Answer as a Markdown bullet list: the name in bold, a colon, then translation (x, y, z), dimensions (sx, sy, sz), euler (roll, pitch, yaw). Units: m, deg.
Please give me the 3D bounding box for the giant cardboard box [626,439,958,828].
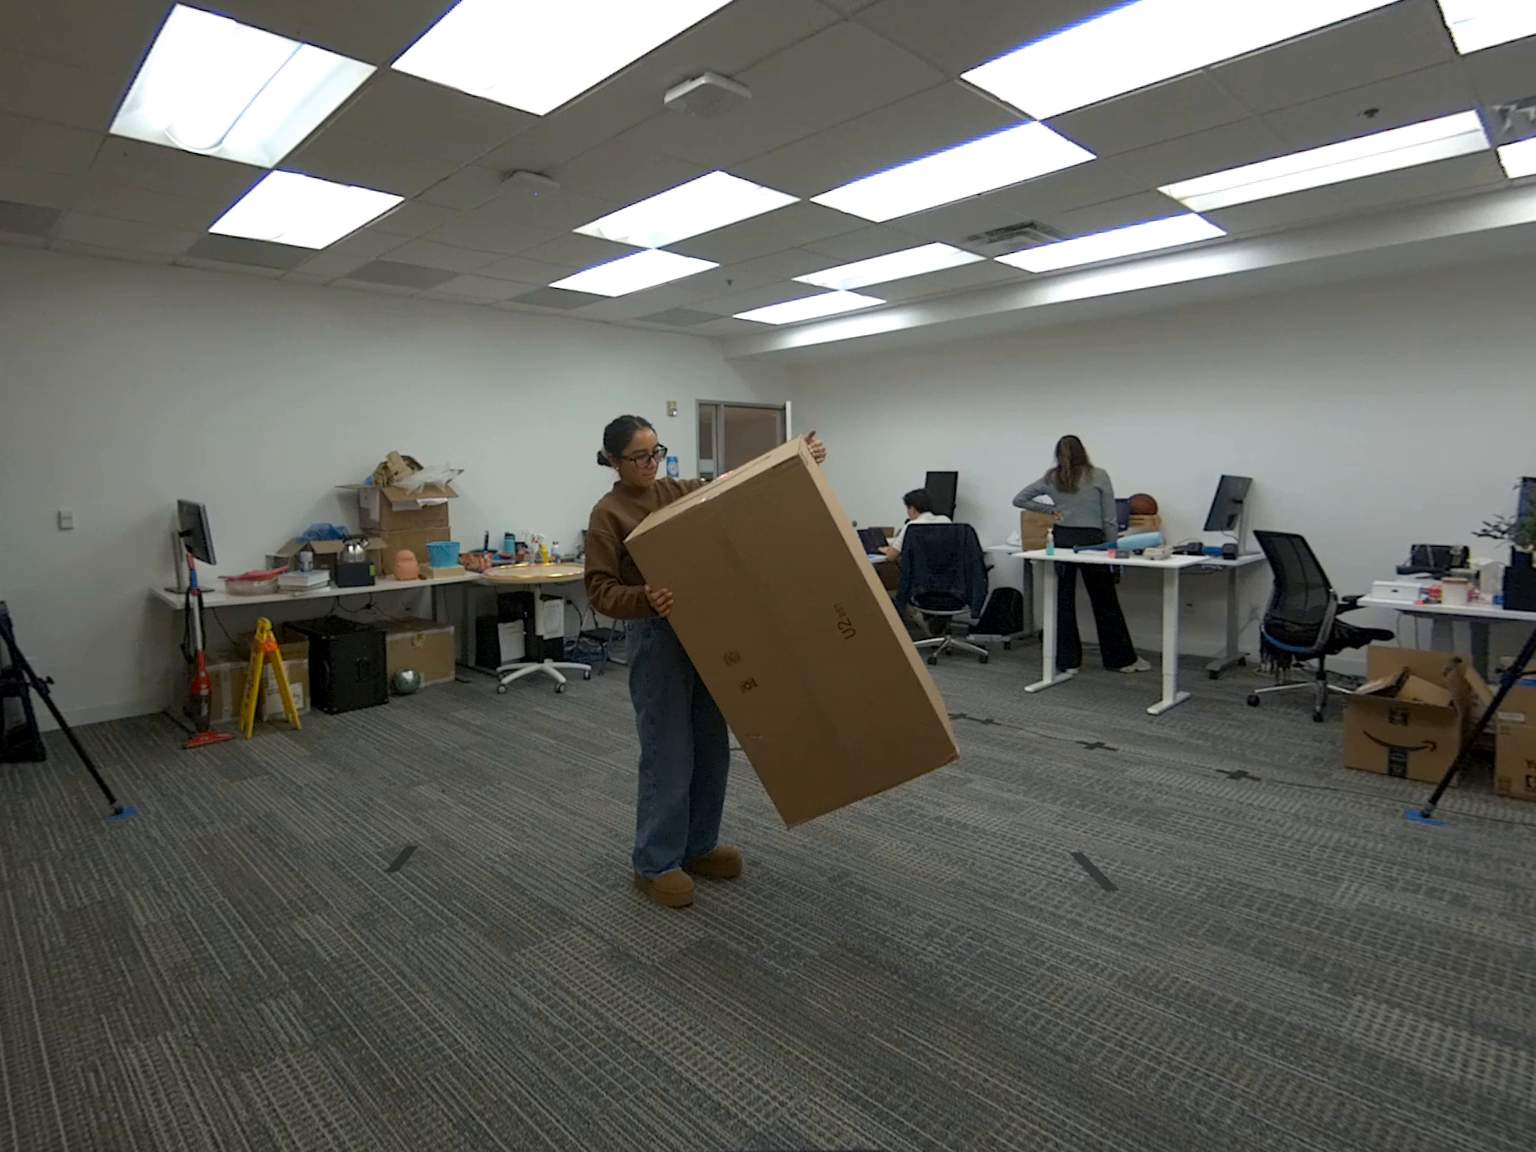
- **giant cardboard box**: translation (0.085, 0.171, 2.684), dimensions (0.581, 1.014, 0.428), euler (-26, 9, 13)
